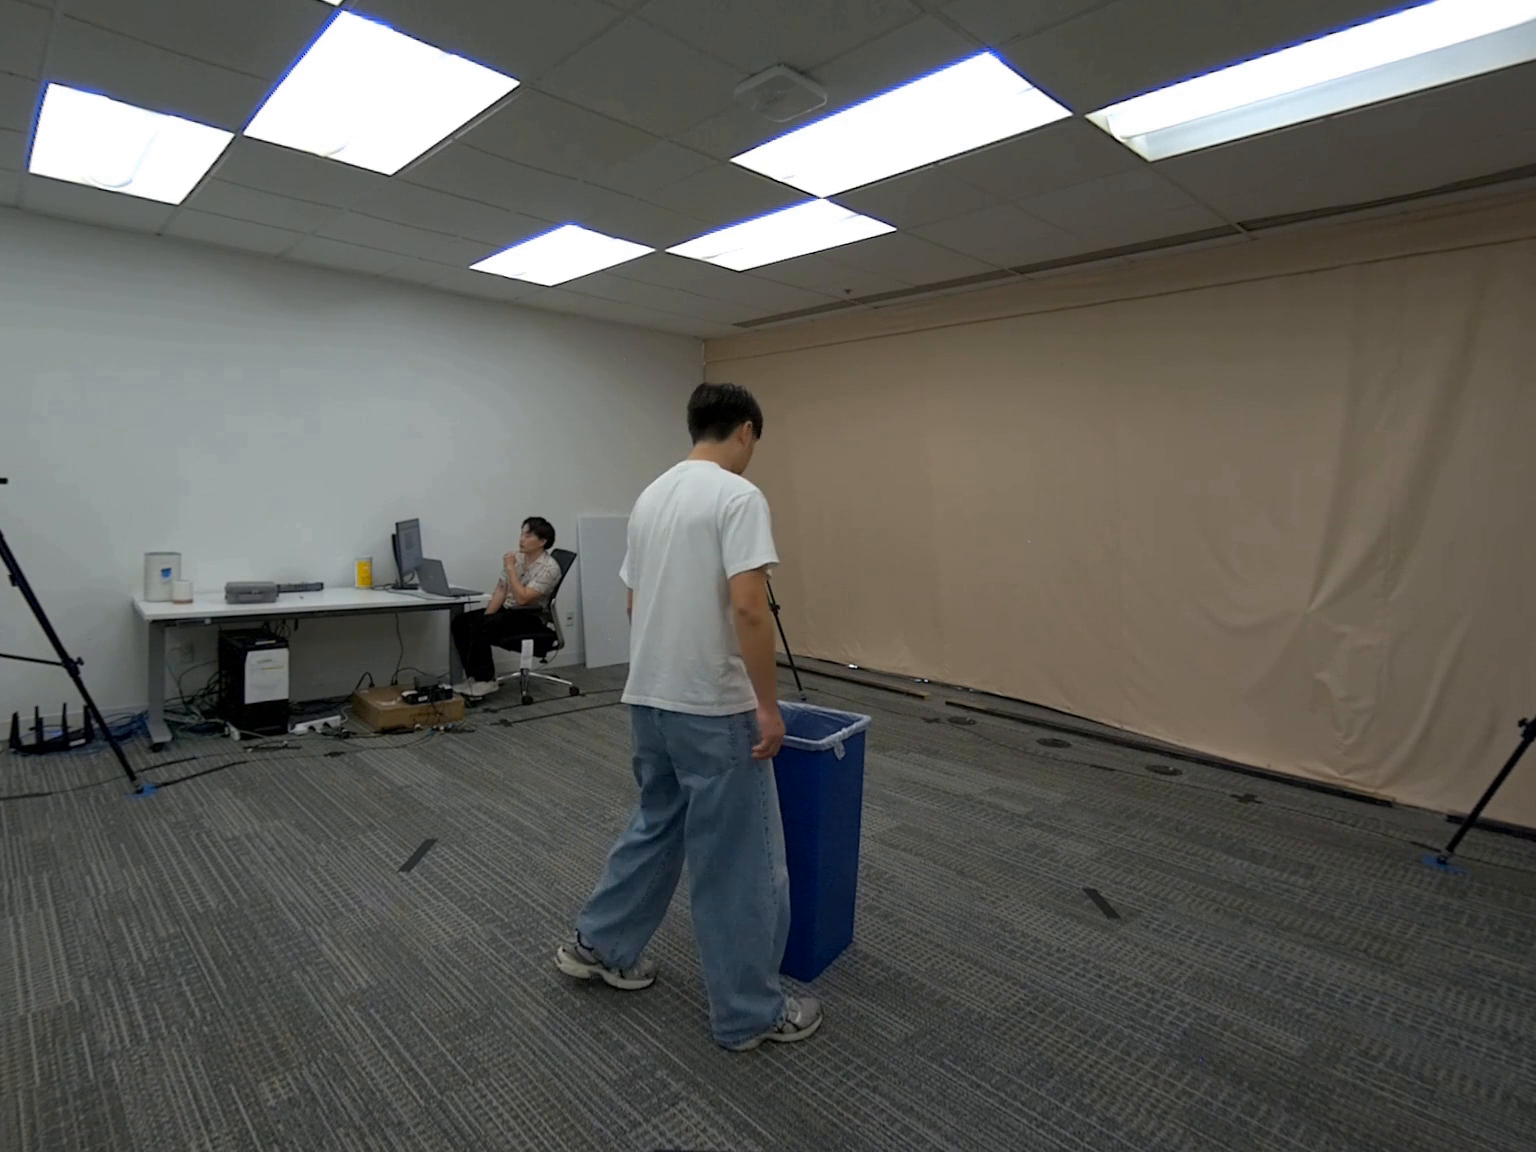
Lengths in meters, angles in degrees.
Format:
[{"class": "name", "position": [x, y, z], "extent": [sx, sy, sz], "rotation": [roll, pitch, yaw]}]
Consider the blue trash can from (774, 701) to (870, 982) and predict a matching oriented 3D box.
[{"class": "blue trash can", "position": [0.066, 0.797, 2.605], "extent": [0.382, 0.712, 0.370], "rotation": [4, 4, 31]}]
